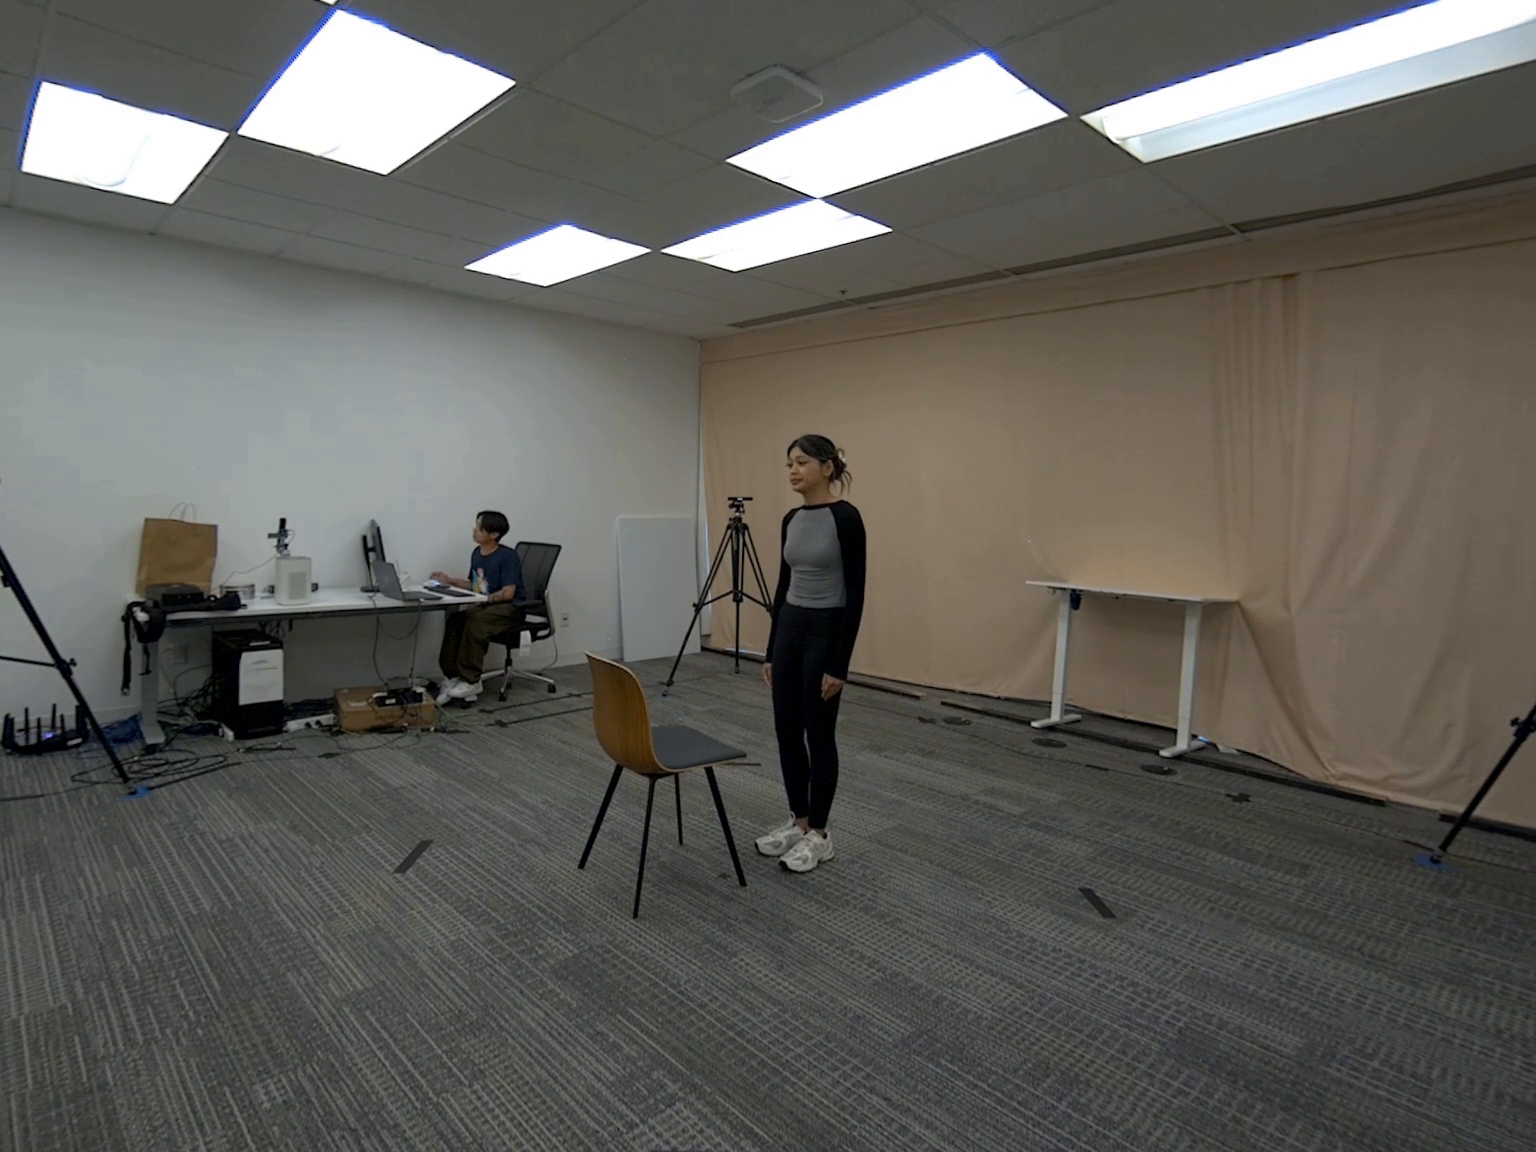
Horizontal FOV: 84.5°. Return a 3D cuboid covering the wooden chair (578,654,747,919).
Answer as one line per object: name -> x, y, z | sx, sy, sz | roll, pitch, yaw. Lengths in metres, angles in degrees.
wooden chair -> -0.385, 0.681, 3.057 | 0.512, 0.874, 0.490 | -6, 7, -36
